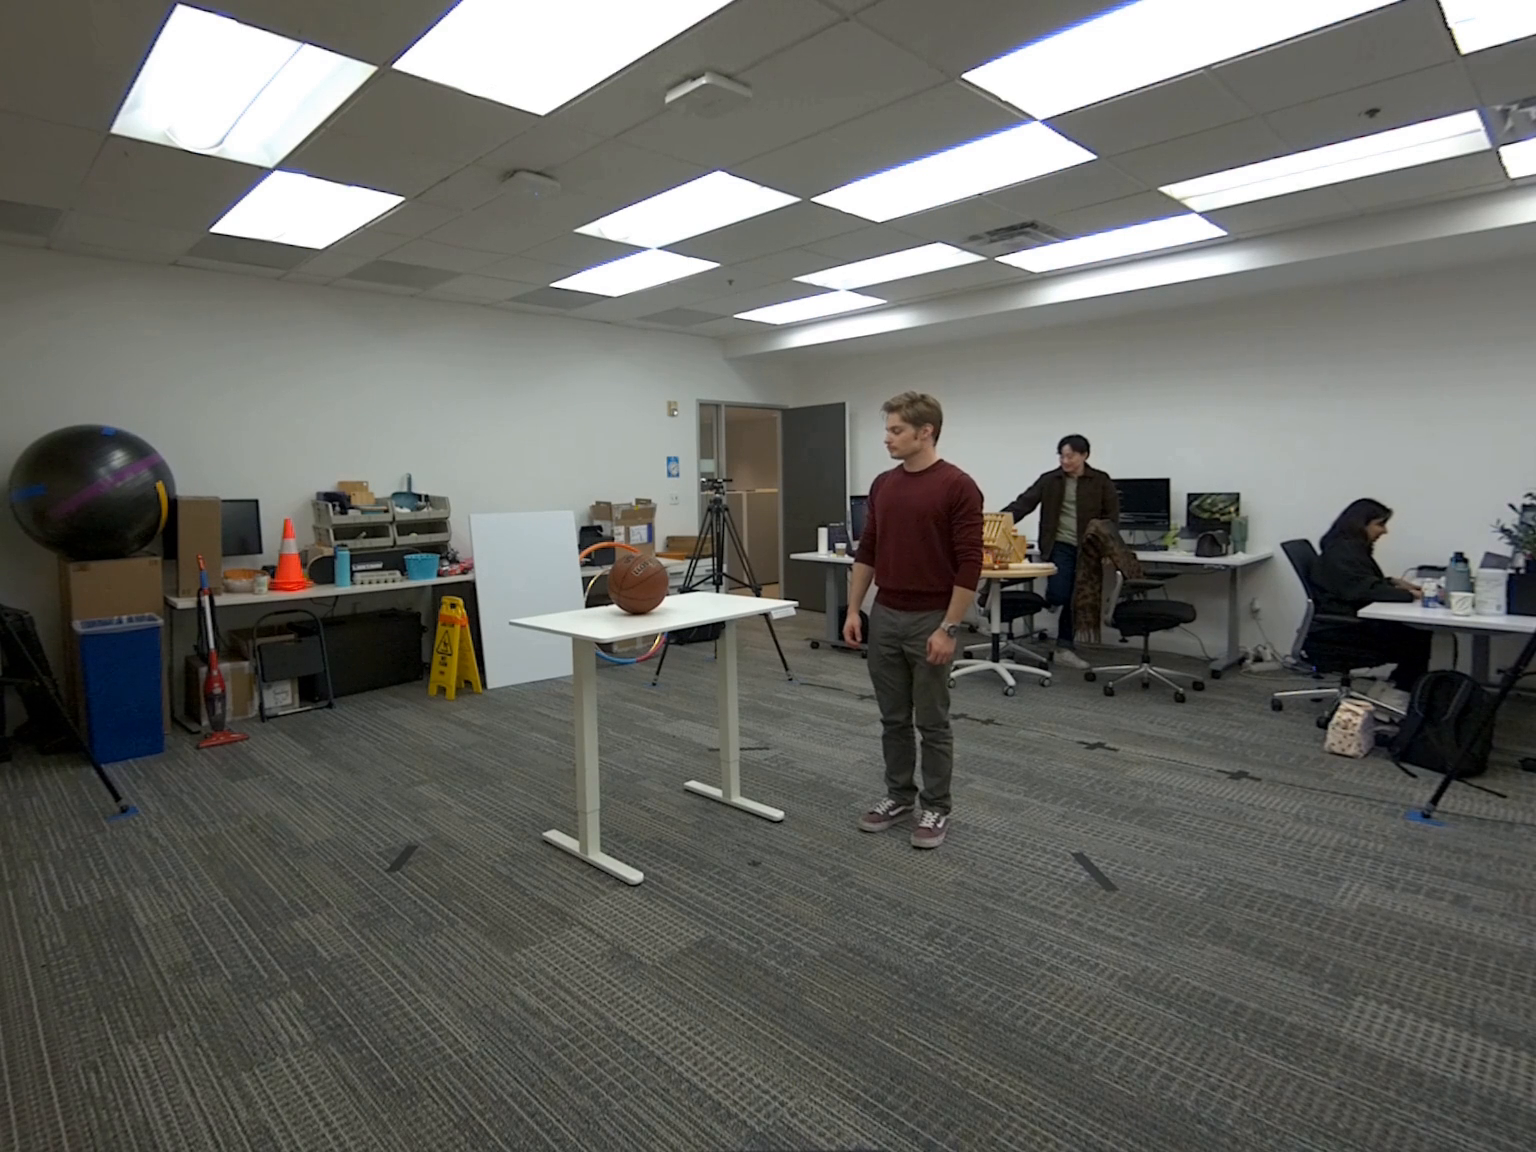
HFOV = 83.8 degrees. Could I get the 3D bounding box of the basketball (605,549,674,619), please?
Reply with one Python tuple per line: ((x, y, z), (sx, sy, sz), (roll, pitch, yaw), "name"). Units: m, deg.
((-0.496, 0.024, 3.327), (0.236, 0.235, 0.237), (-1, 5, -2), "basketball")
